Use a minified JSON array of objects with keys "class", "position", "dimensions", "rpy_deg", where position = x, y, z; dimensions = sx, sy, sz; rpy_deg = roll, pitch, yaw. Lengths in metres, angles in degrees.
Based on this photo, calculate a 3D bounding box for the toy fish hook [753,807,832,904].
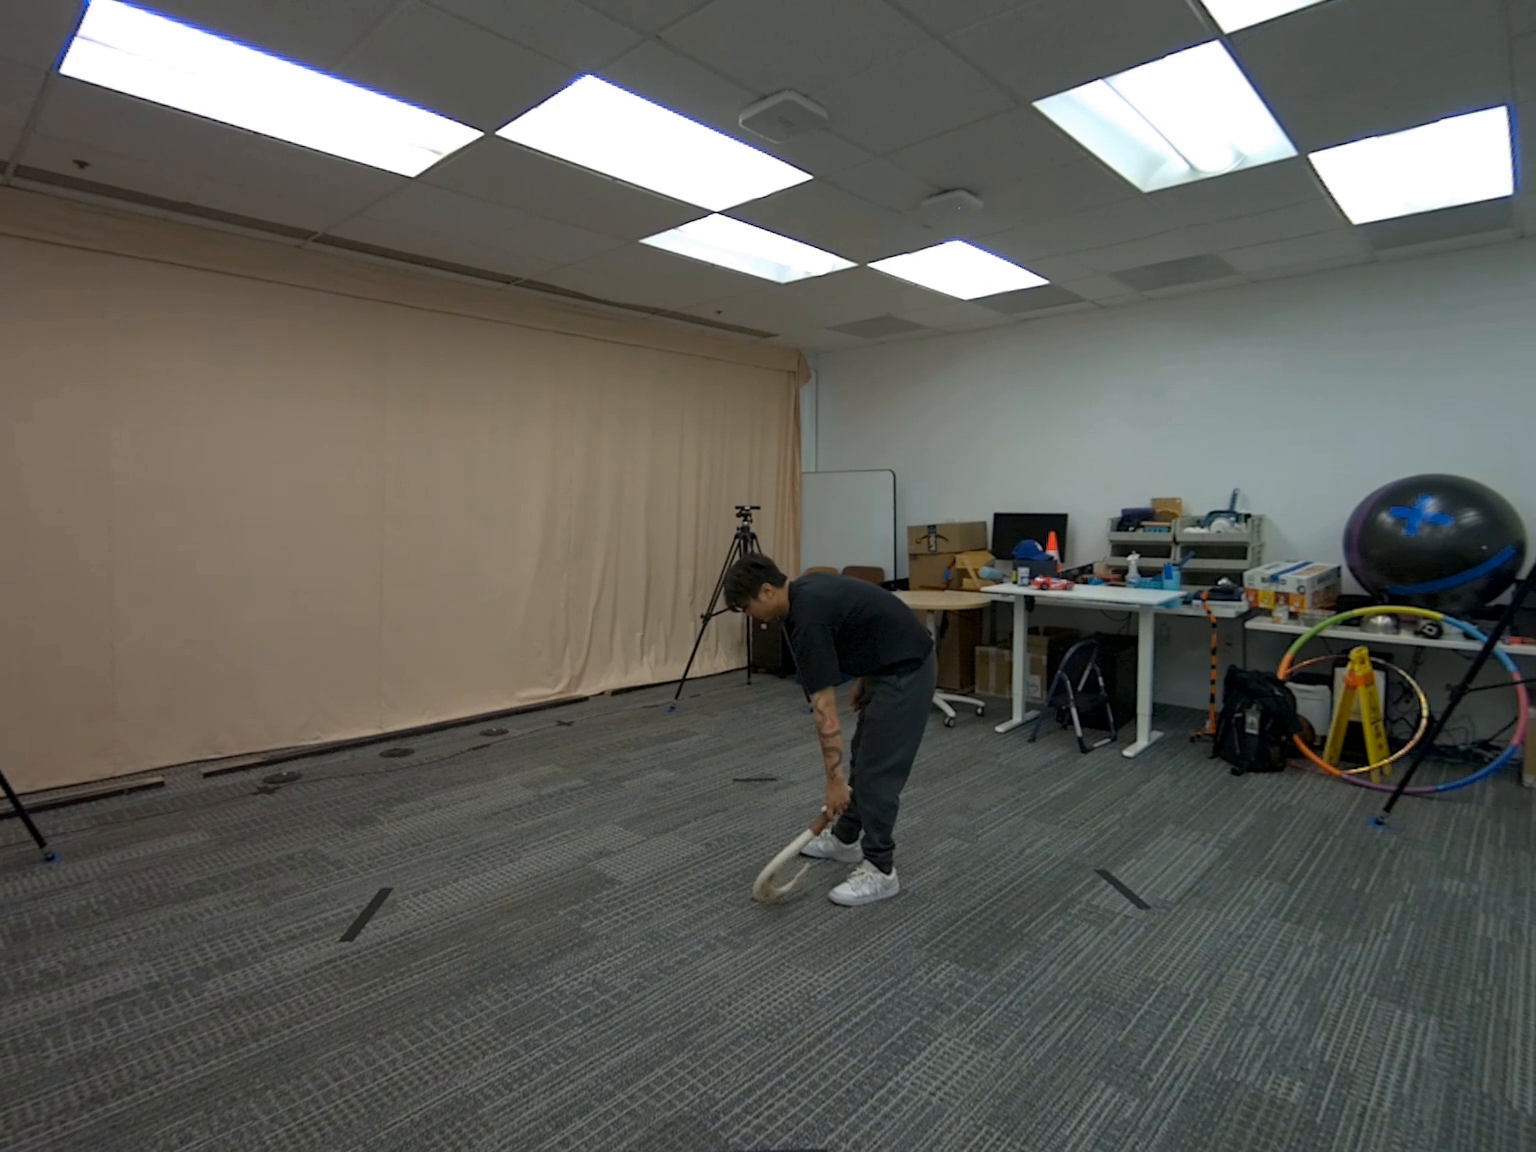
[{"class":"toy fish hook","position":[0.141,0.937,2.913],"dimensions":[0.050,0.507,0.216],"rpy_deg":[43,2,42]}]
